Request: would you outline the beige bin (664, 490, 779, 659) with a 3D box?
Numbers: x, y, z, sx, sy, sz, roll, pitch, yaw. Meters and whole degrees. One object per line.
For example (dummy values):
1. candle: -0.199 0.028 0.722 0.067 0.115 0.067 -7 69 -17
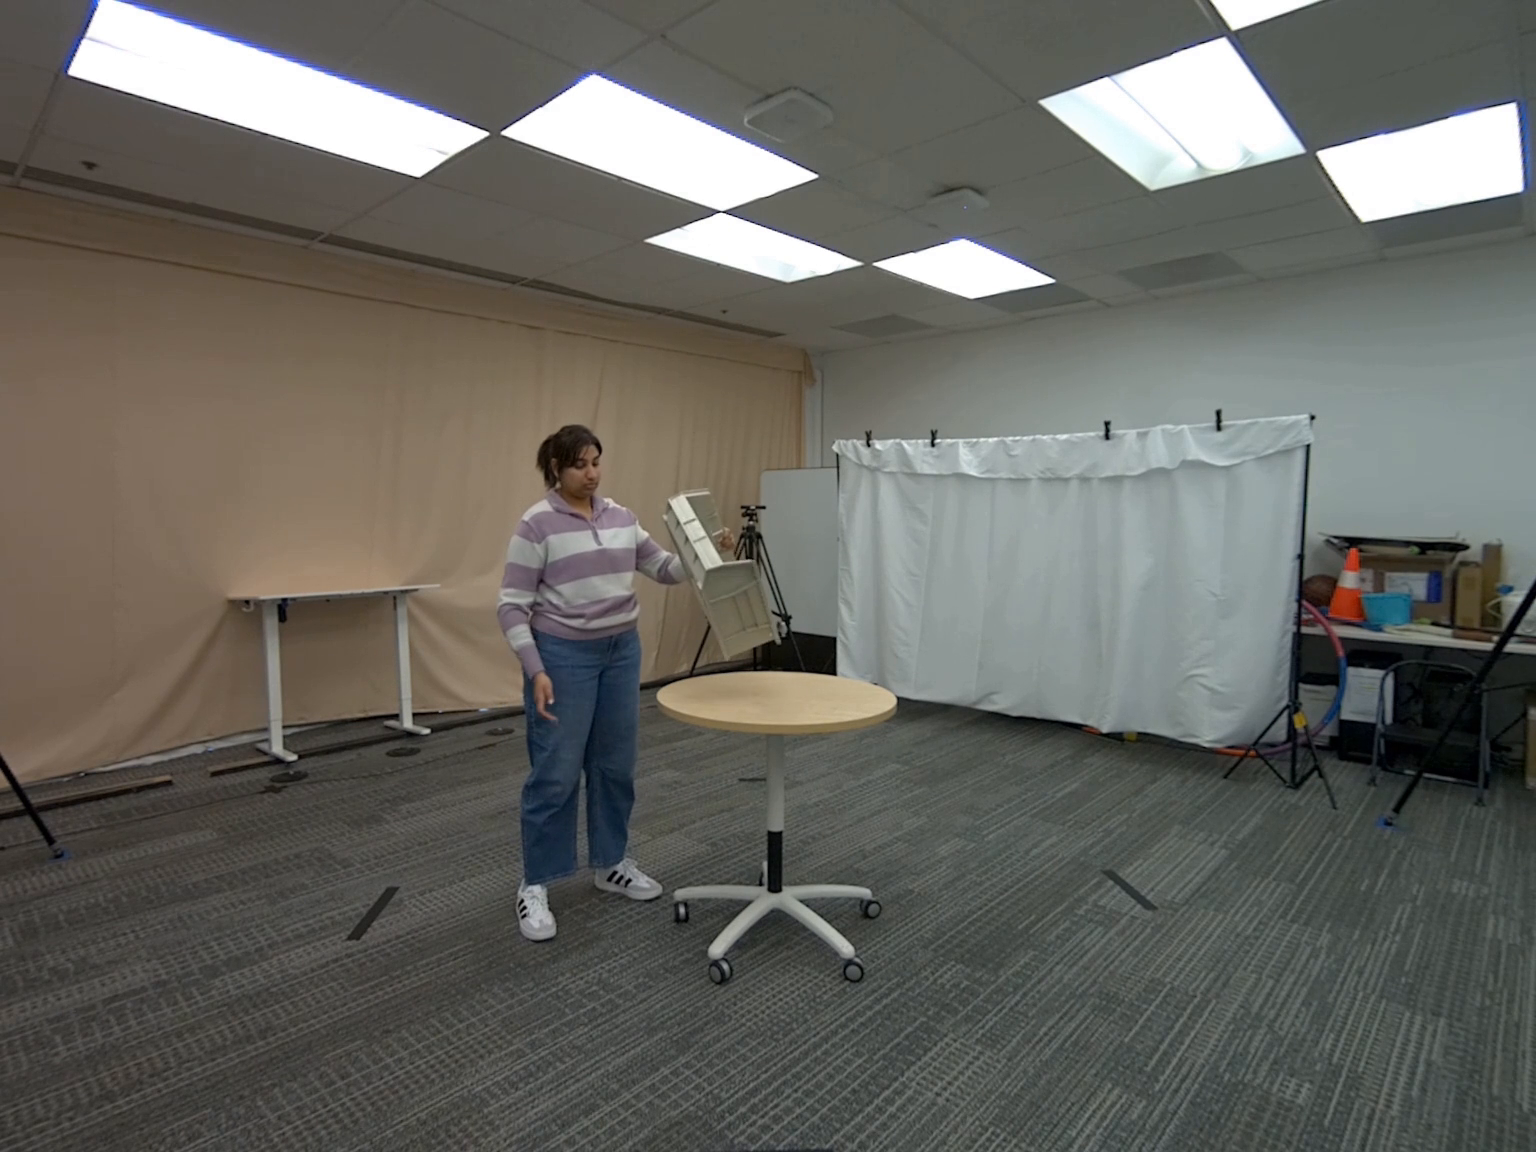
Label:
1. beige bin: -0.148 -0.016 2.641 0.188 0.367 0.436 -24 40 -9
